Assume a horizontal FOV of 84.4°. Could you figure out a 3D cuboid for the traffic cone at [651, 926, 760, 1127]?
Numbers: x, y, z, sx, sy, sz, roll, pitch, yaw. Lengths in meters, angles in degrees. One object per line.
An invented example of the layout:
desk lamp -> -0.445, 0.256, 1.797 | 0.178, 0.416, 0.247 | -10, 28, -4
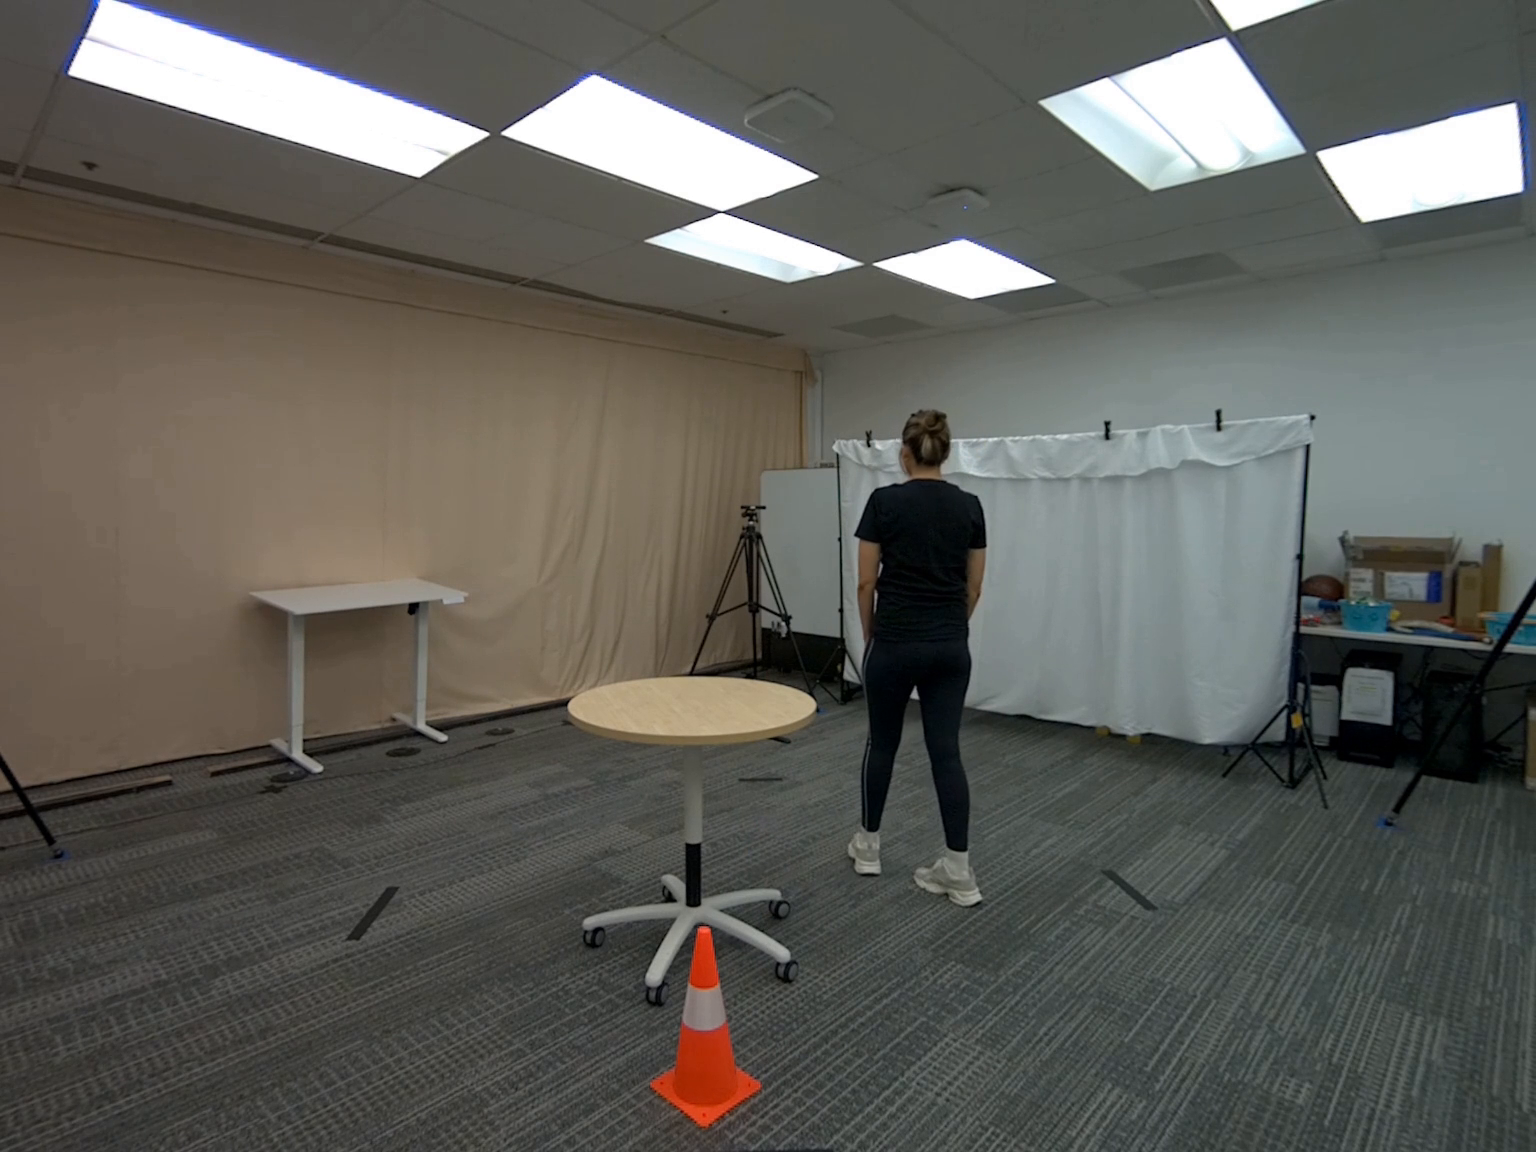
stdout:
traffic cone -> -0.145, 1.044, 2.003 | 0.197, 0.383, 0.211 | -4, 5, -36
